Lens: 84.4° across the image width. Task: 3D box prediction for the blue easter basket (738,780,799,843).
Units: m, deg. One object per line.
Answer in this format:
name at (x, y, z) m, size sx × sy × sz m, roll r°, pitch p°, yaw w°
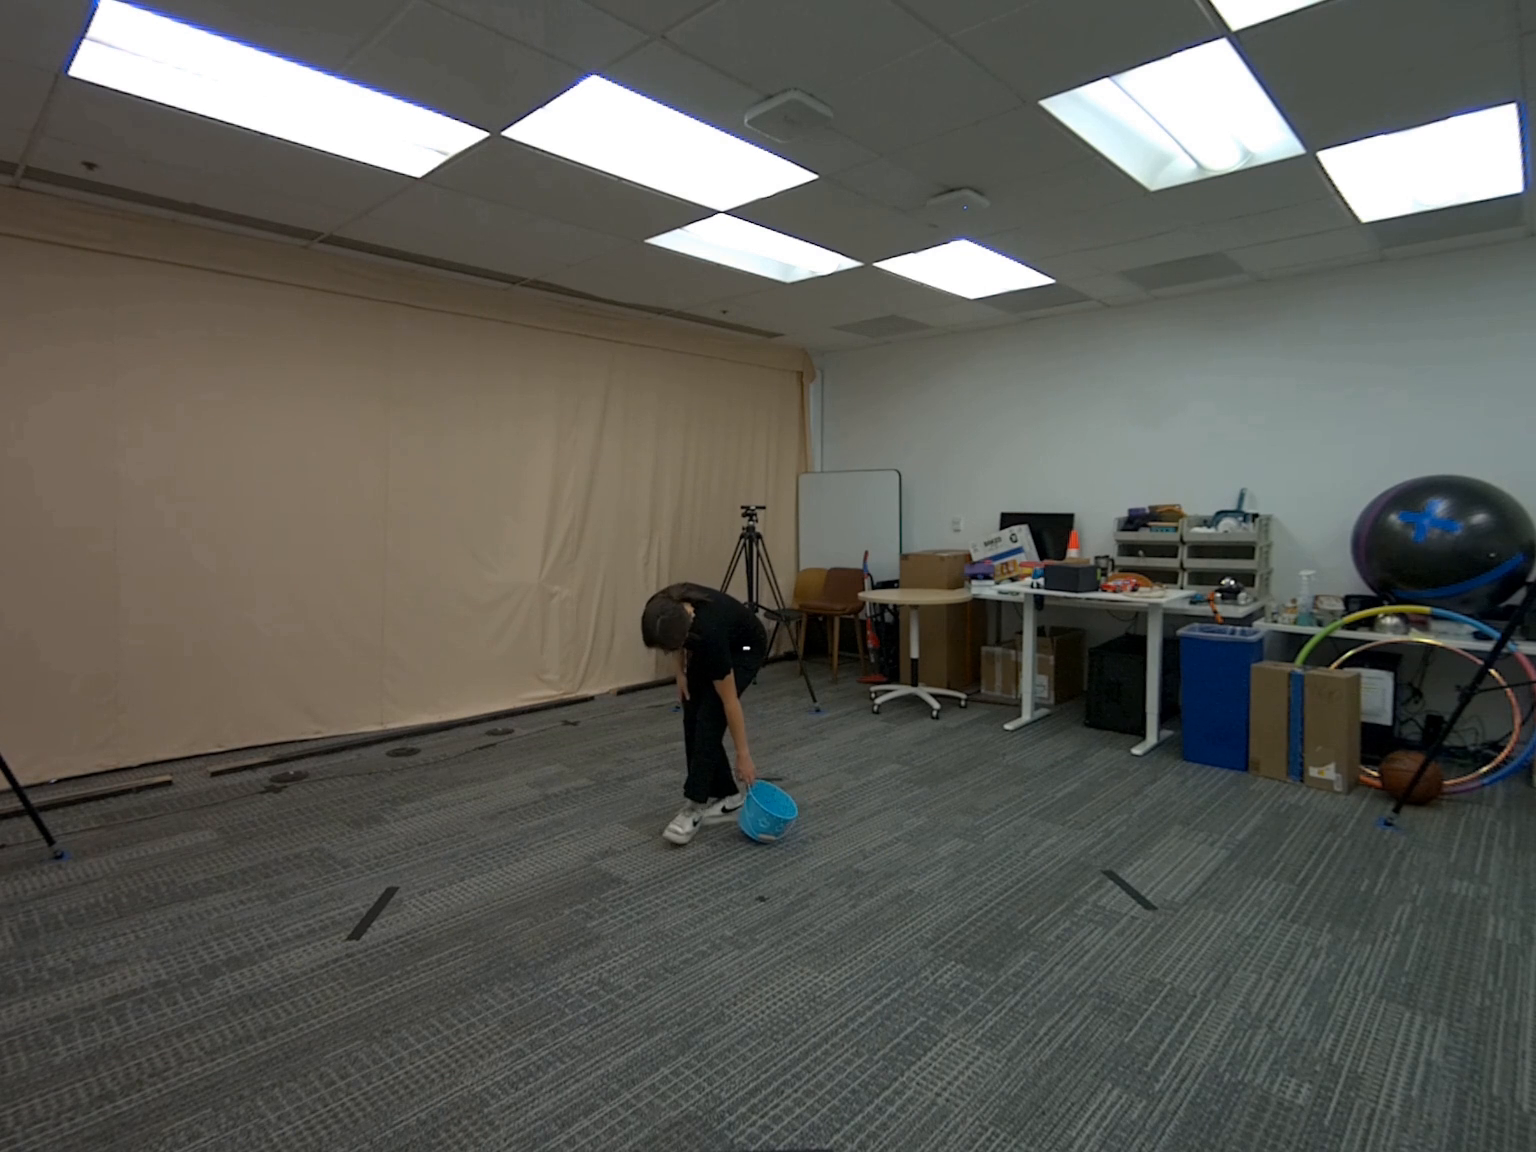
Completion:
blue easter basket at (-0.010, 0.992, 3.503) m, size 0.241 × 0.156 × 0.246 m, roll 26°, pitch 13°, yaw -8°
